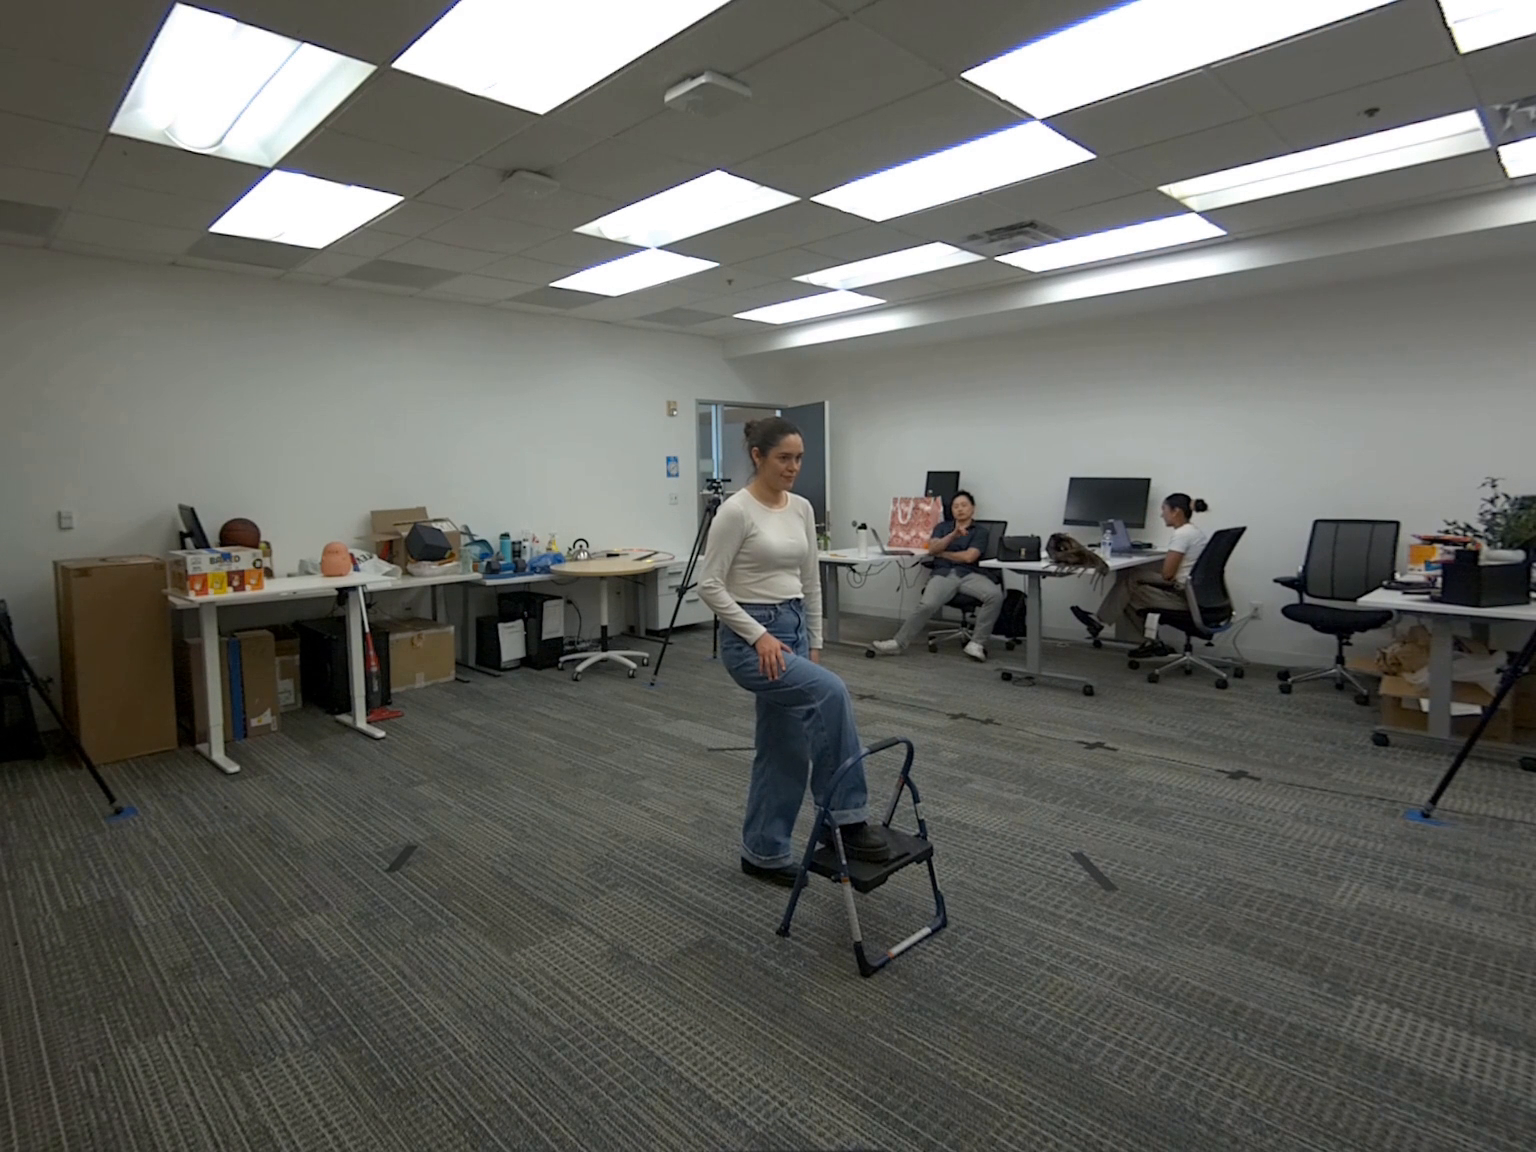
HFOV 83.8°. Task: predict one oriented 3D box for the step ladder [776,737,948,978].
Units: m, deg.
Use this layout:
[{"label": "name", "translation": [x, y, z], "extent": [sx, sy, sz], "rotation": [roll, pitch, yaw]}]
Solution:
[{"label": "step ladder", "translation": [0.294, 0.793, 2.622], "extent": [0.360, 0.603, 0.419], "rotation": [3, 7, 44]}]
